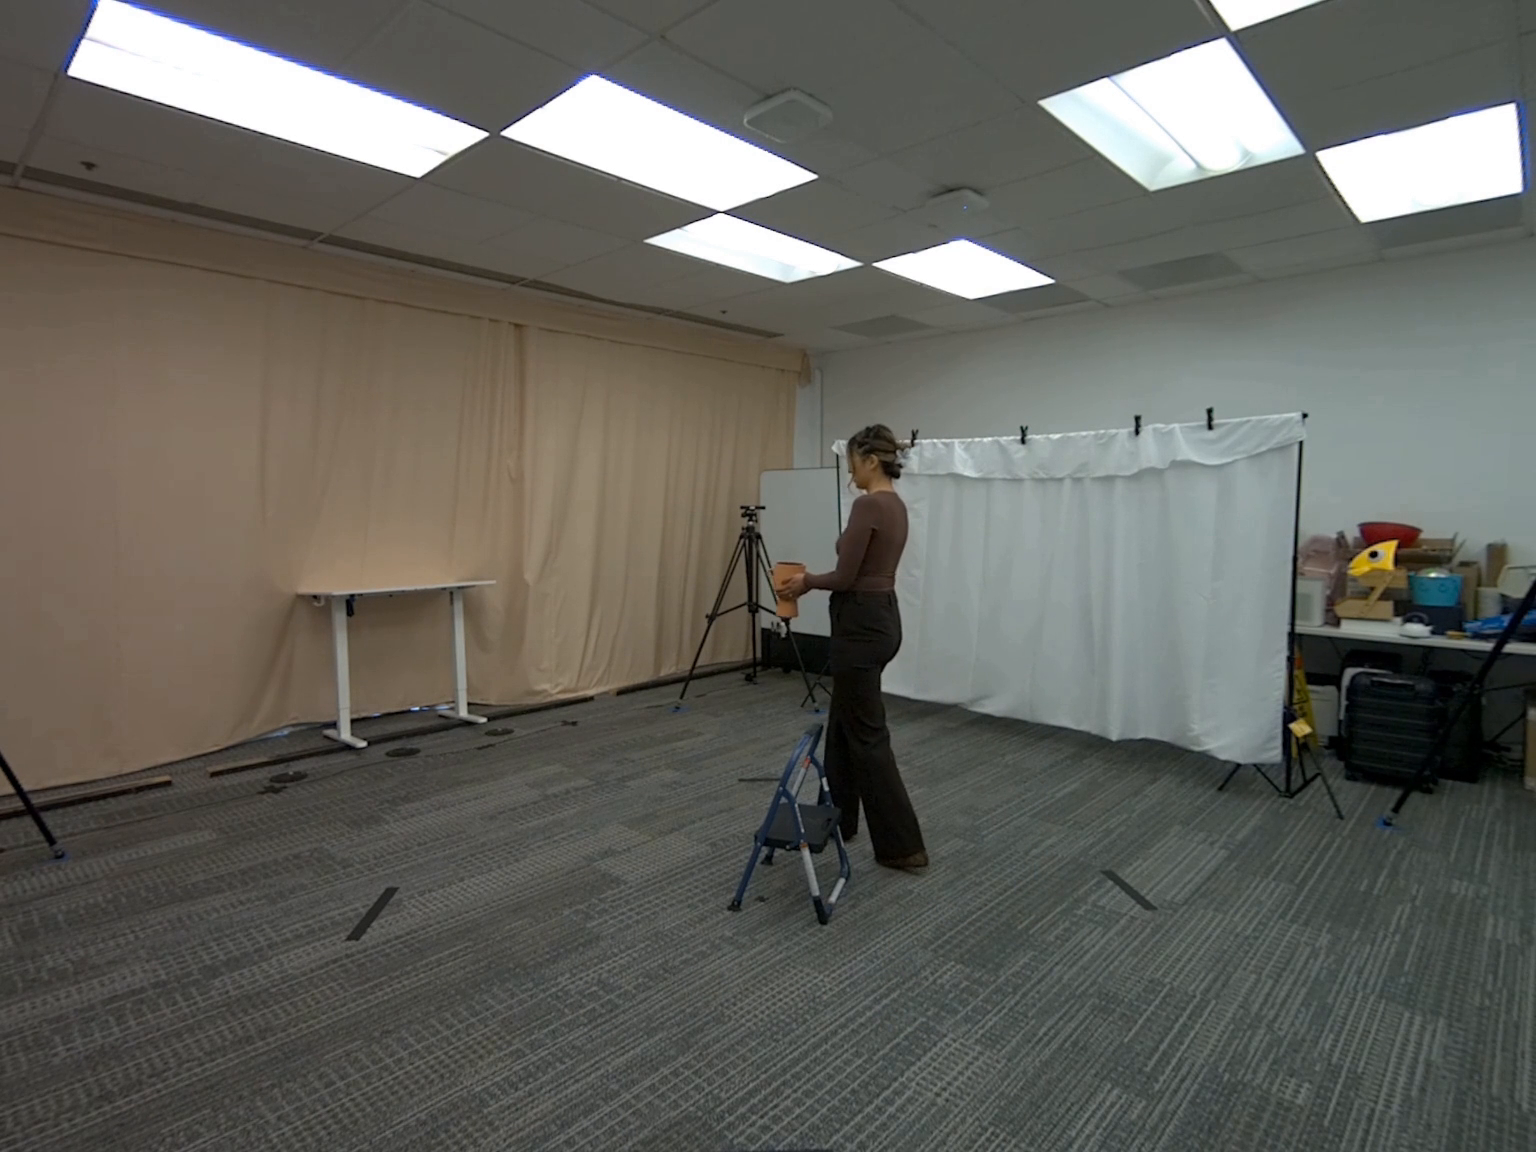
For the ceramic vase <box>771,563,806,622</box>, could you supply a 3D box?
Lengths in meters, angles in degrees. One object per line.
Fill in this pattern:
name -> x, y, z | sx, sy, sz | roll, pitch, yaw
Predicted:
ceramic vase -> 0.098, 0.059, 3.545 | 0.131, 0.219, 0.164 | -2, 8, -34
